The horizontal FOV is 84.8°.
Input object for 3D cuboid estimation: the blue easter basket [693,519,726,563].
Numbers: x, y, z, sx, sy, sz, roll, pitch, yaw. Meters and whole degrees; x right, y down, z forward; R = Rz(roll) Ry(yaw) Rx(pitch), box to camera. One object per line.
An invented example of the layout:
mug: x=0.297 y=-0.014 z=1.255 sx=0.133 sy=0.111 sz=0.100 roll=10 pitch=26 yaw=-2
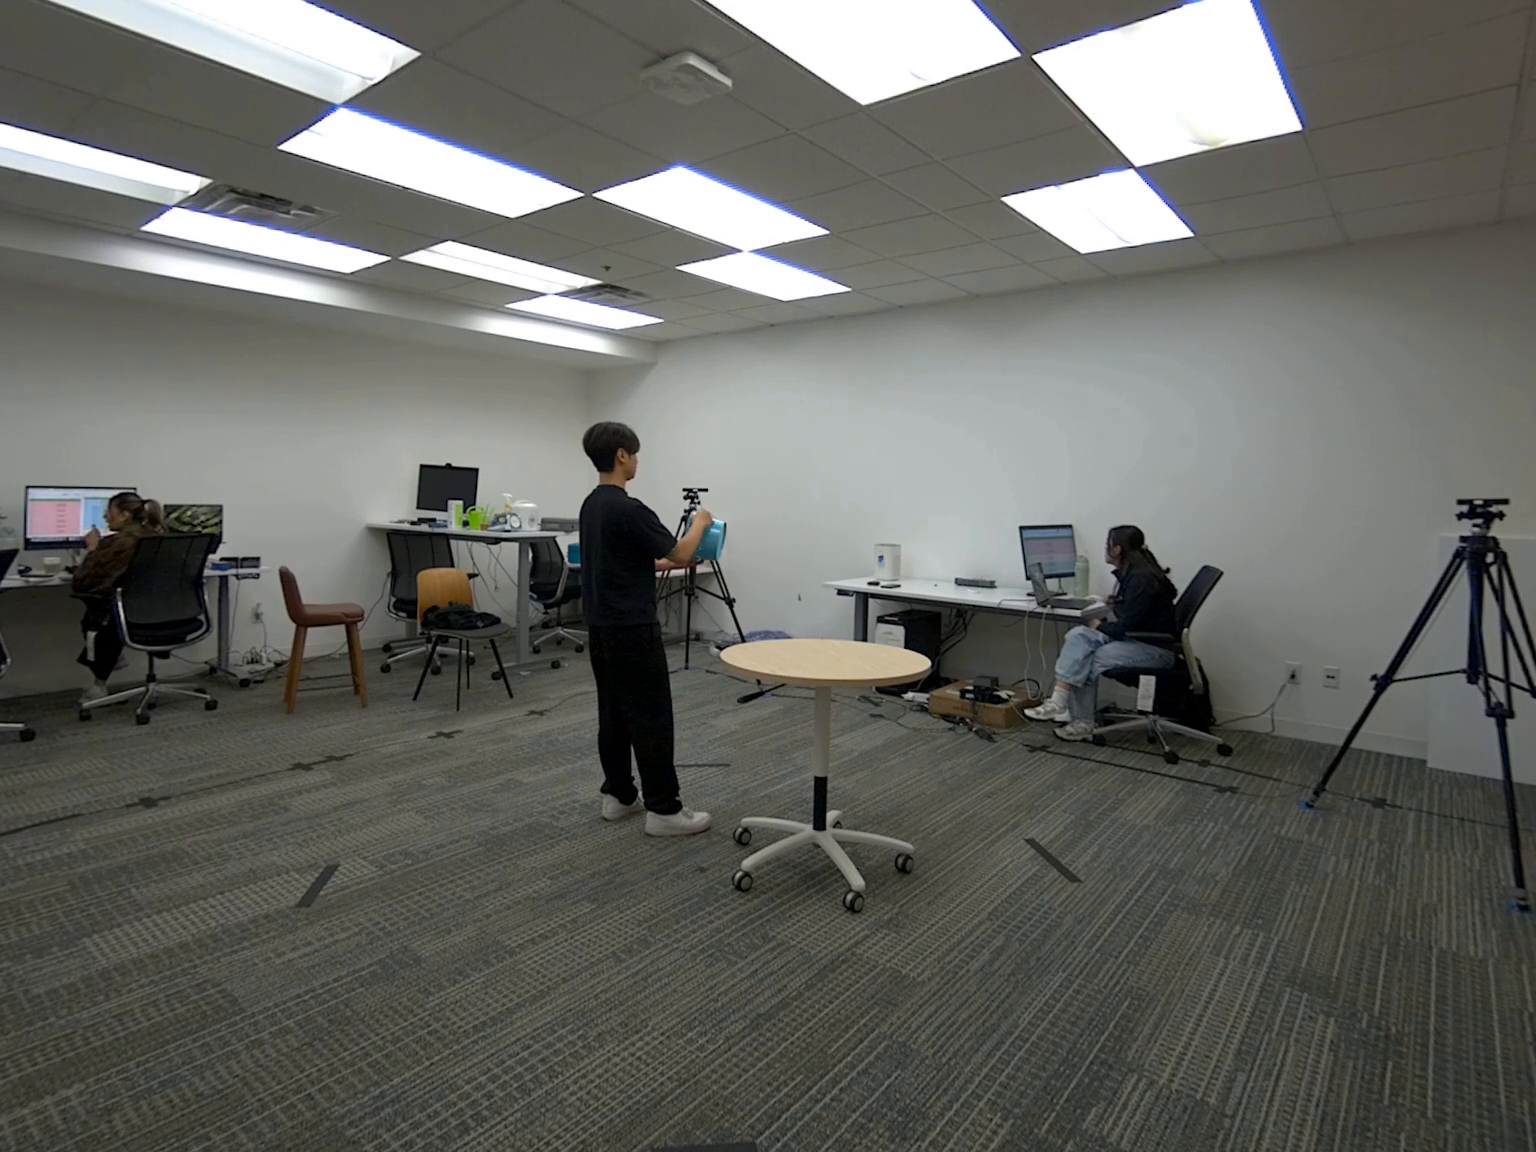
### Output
blue easter basket: x=-0.295 y=-0.172 z=3.855 sx=0.157 sy=0.243 sz=0.242 roll=12 pitch=5 yaw=5
